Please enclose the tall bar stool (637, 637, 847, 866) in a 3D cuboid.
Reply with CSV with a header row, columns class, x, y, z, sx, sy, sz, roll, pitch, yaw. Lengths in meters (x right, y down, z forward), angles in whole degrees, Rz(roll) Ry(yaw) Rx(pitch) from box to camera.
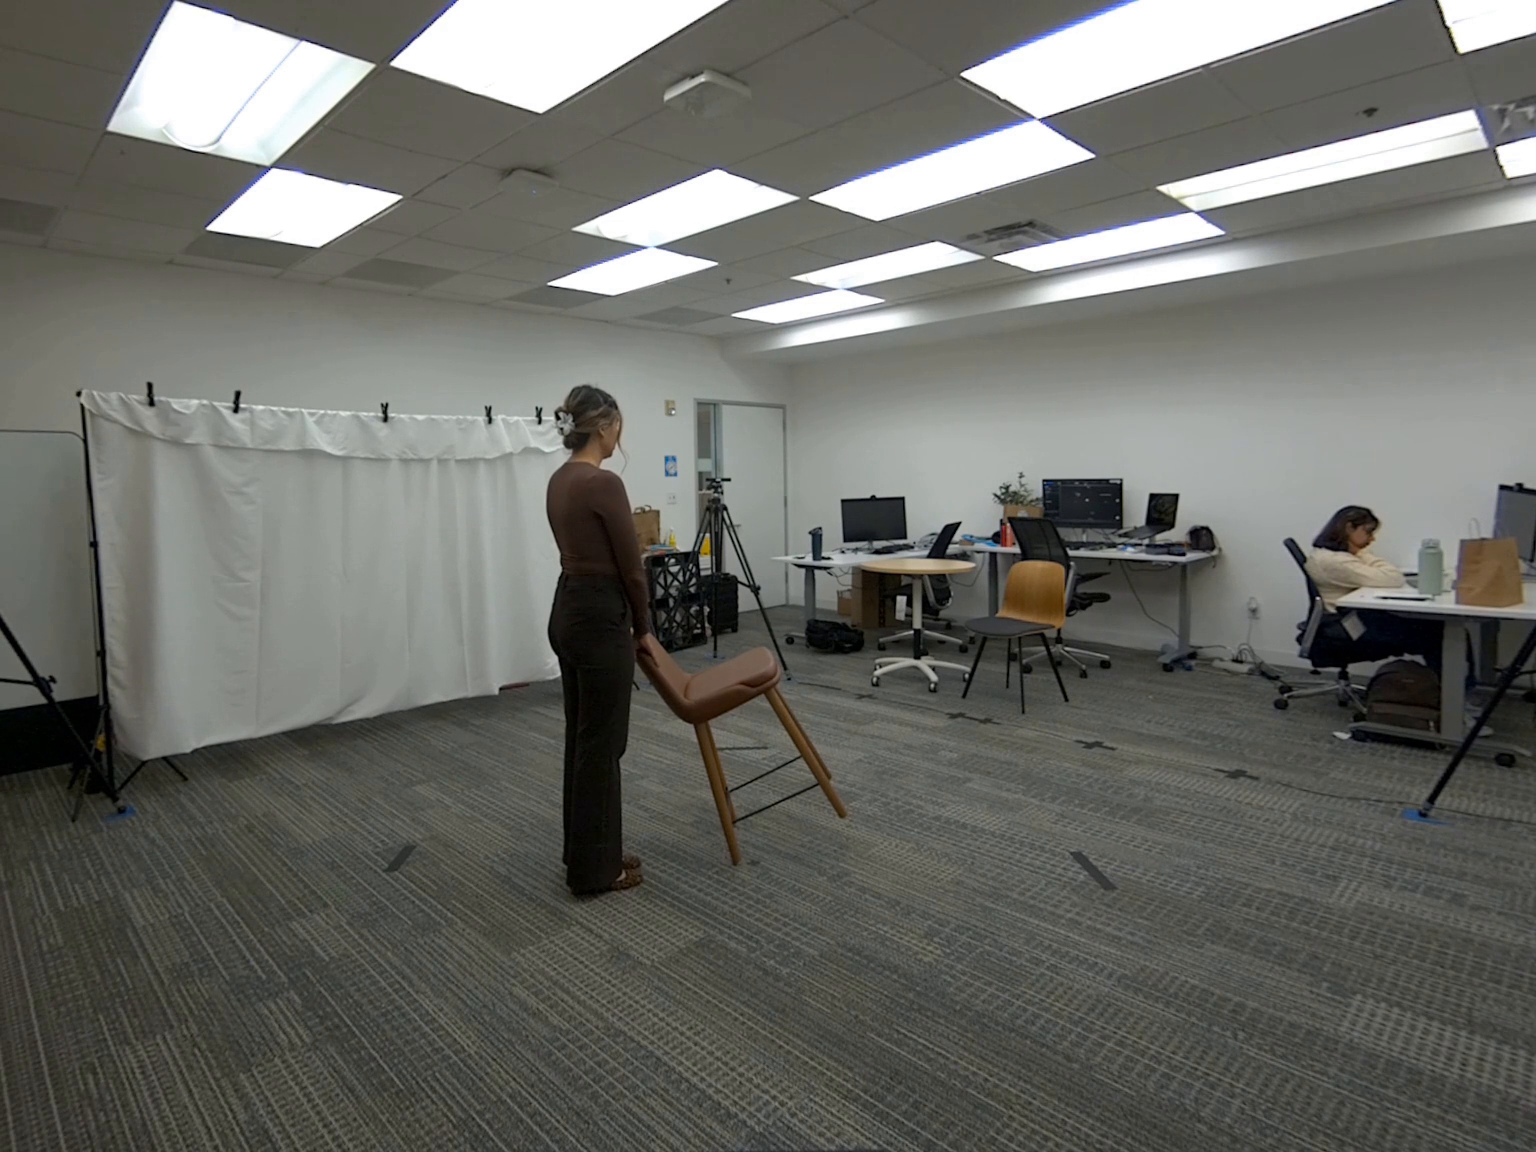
class,x,y,z,sx,sy,sz,roll,pitch,yaw
tall bar stool,-0.121,0.544,3.247,0.468,0.885,0.459,-27,4,1
